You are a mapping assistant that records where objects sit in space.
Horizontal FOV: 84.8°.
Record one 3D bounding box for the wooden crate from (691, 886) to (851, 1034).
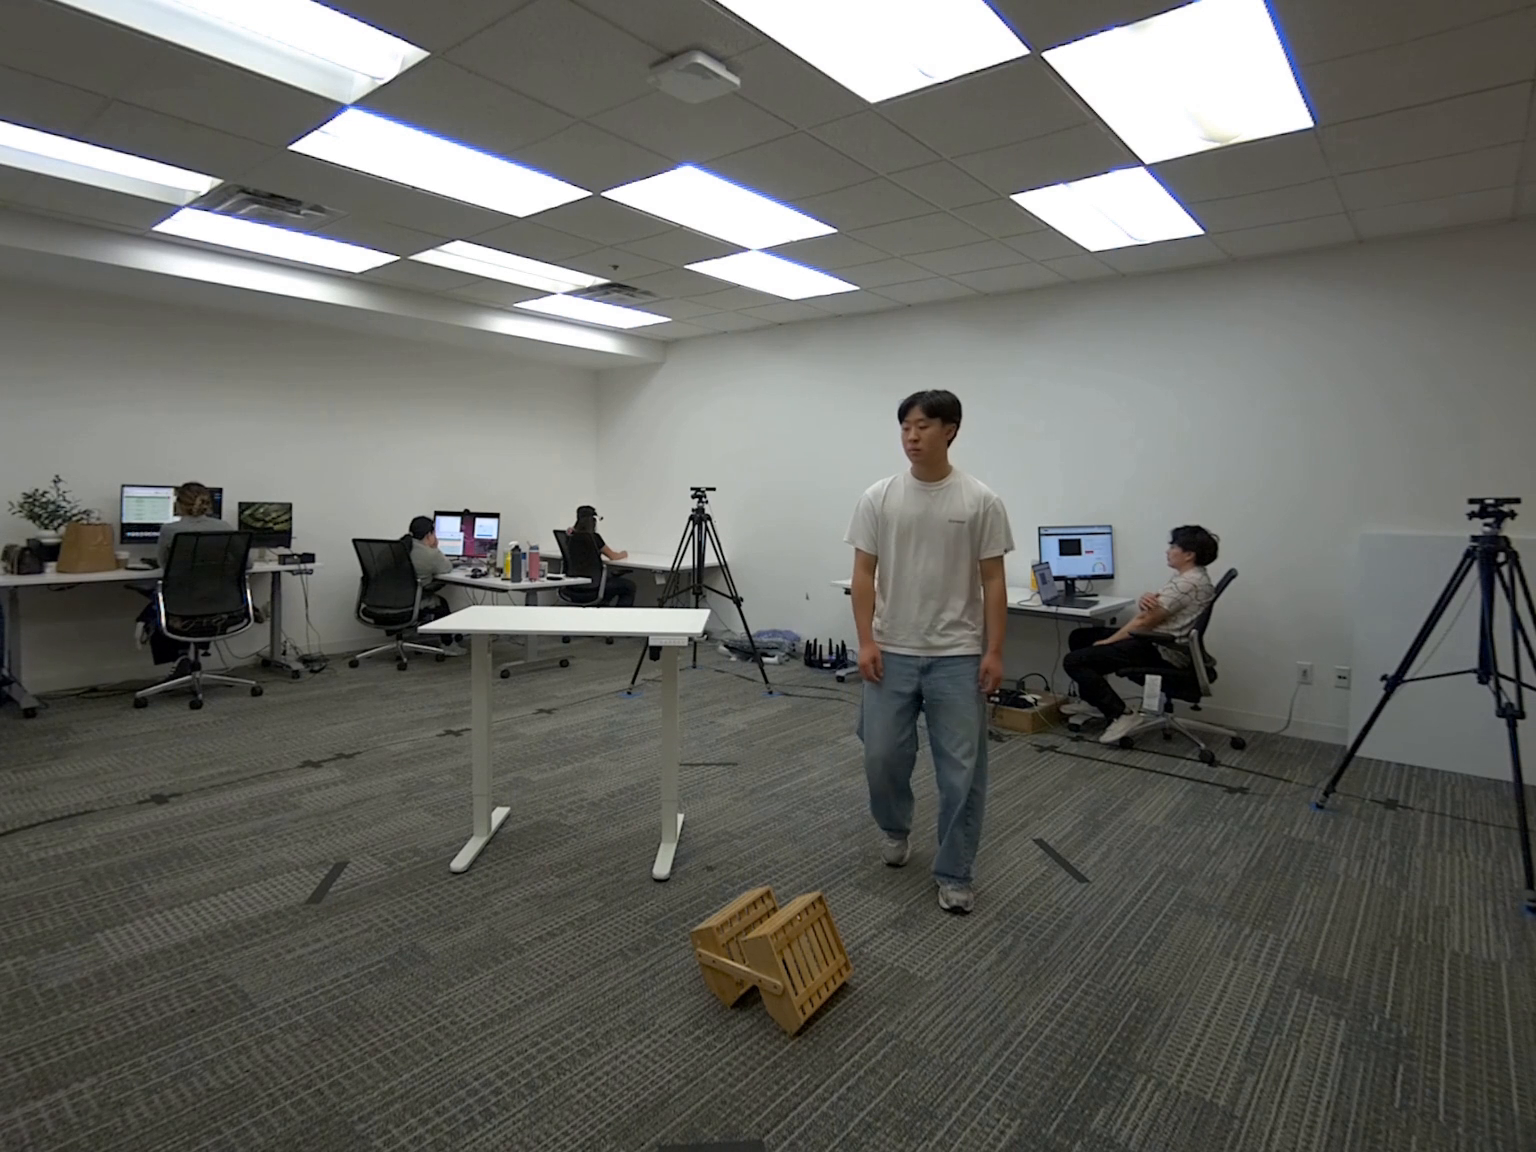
[{"bbox_3d":[0.004,1.056,2.368,0.276,0.307,0.315,-29,-13,31],"label":"wooden crate"}]
